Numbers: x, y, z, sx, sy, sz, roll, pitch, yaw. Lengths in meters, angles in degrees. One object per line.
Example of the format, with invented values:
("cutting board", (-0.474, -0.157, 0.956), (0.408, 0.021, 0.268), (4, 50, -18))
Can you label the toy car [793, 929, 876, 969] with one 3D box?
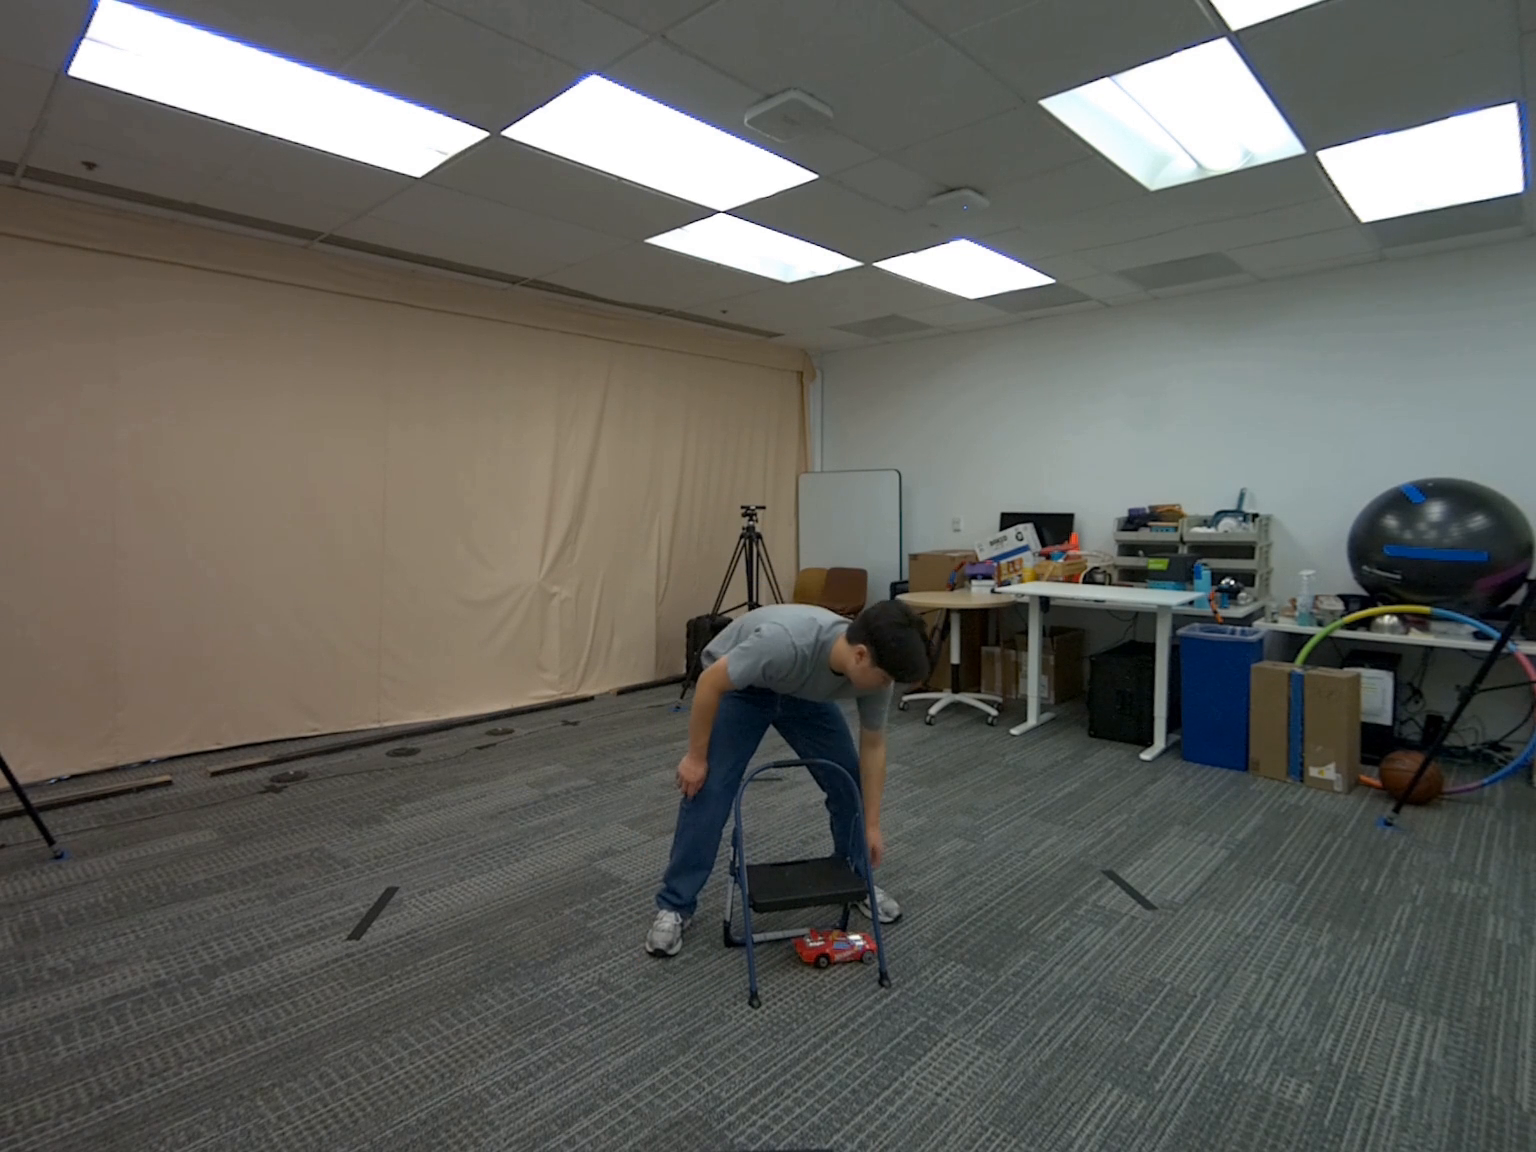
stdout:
("toy car", (0.214, 1.151, 2.583), (0.250, 0.083, 0.132), (10, 2, -14))
